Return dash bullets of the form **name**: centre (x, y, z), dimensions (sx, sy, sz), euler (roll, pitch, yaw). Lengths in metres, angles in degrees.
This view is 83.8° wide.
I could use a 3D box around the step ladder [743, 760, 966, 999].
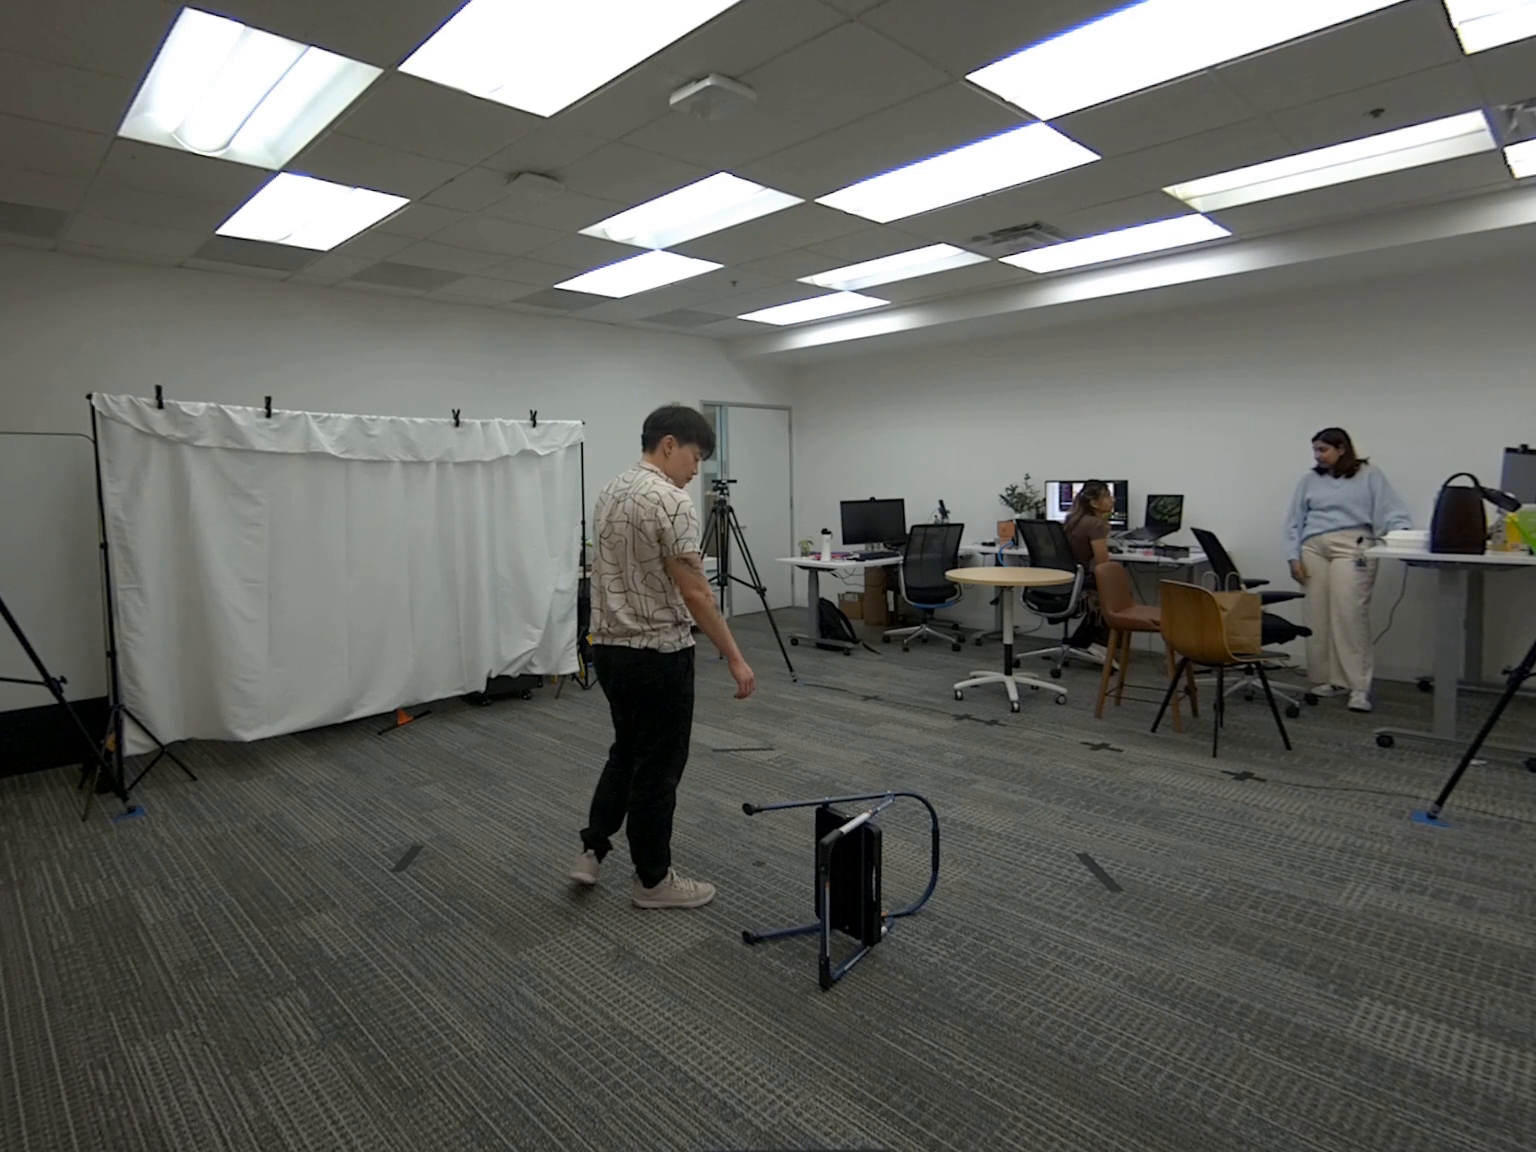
- **step ladder**: centre (0.268, 0.887, 2.625), dimensions (0.590, 0.428, 0.360), euler (-5, 8, -40)
